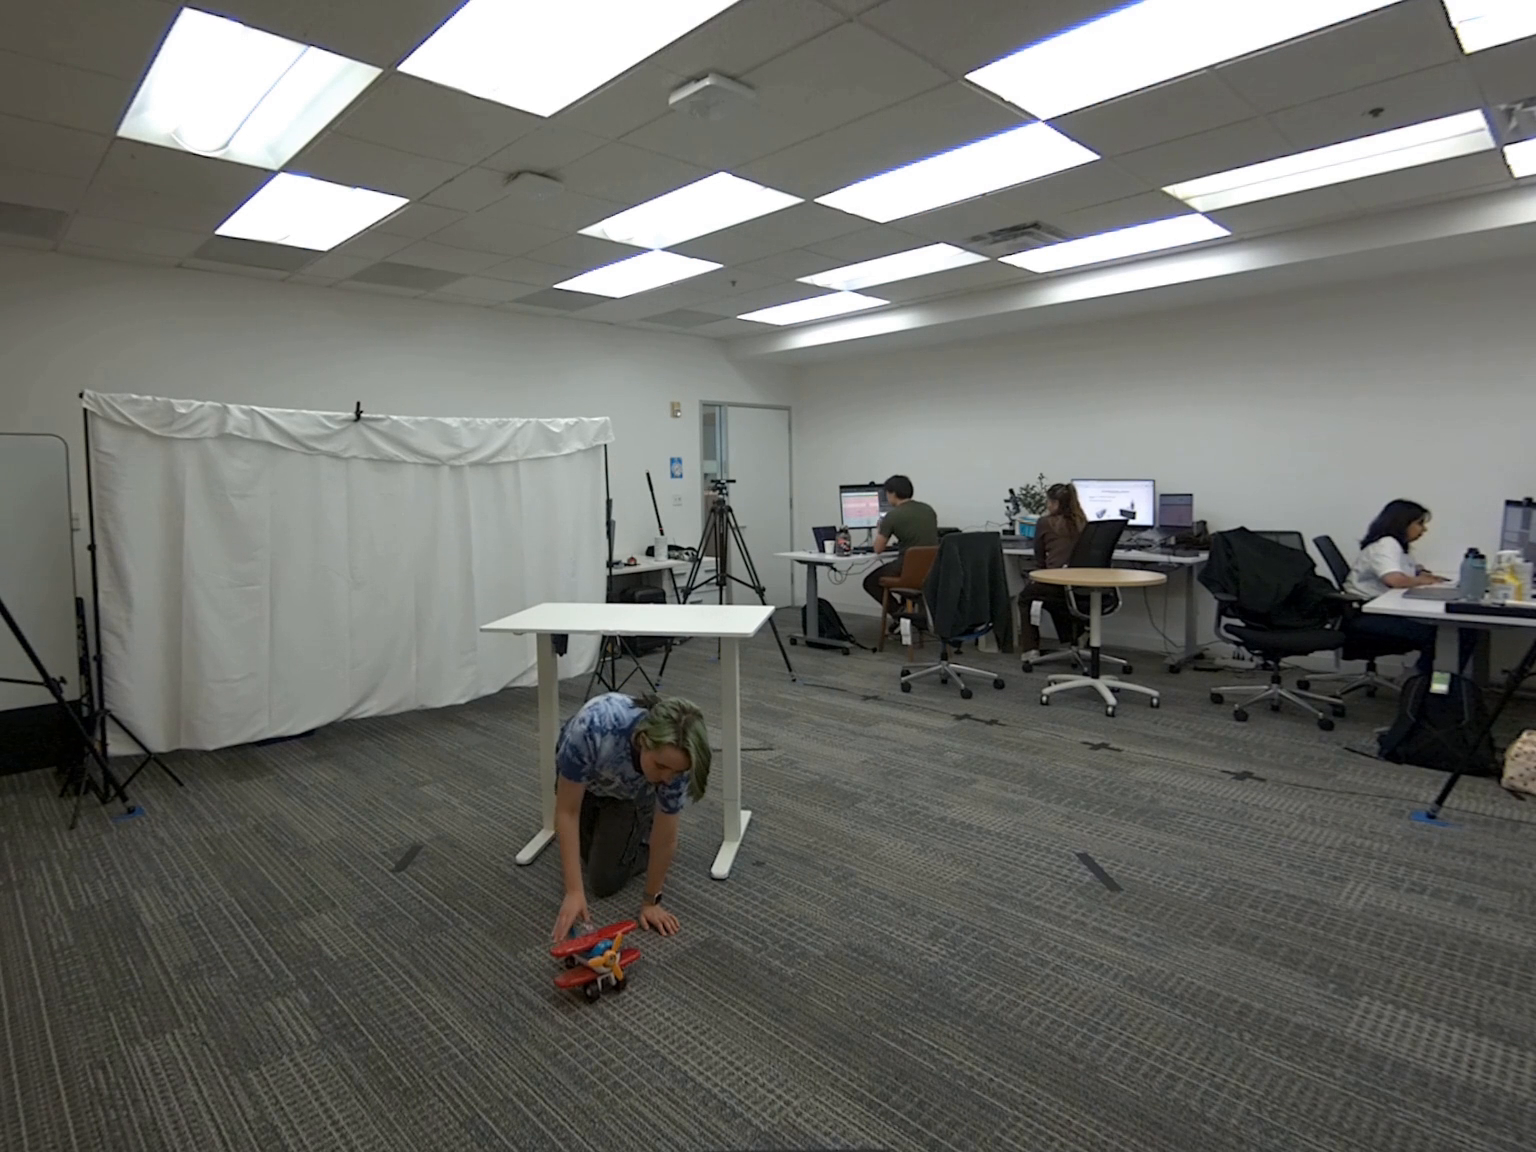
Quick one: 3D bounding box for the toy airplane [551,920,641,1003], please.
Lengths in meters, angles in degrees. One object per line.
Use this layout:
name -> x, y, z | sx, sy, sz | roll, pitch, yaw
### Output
toy airplane -> -0.509, 1.069, 2.390 | 0.265, 0.155, 0.246 | 2, 7, 25
